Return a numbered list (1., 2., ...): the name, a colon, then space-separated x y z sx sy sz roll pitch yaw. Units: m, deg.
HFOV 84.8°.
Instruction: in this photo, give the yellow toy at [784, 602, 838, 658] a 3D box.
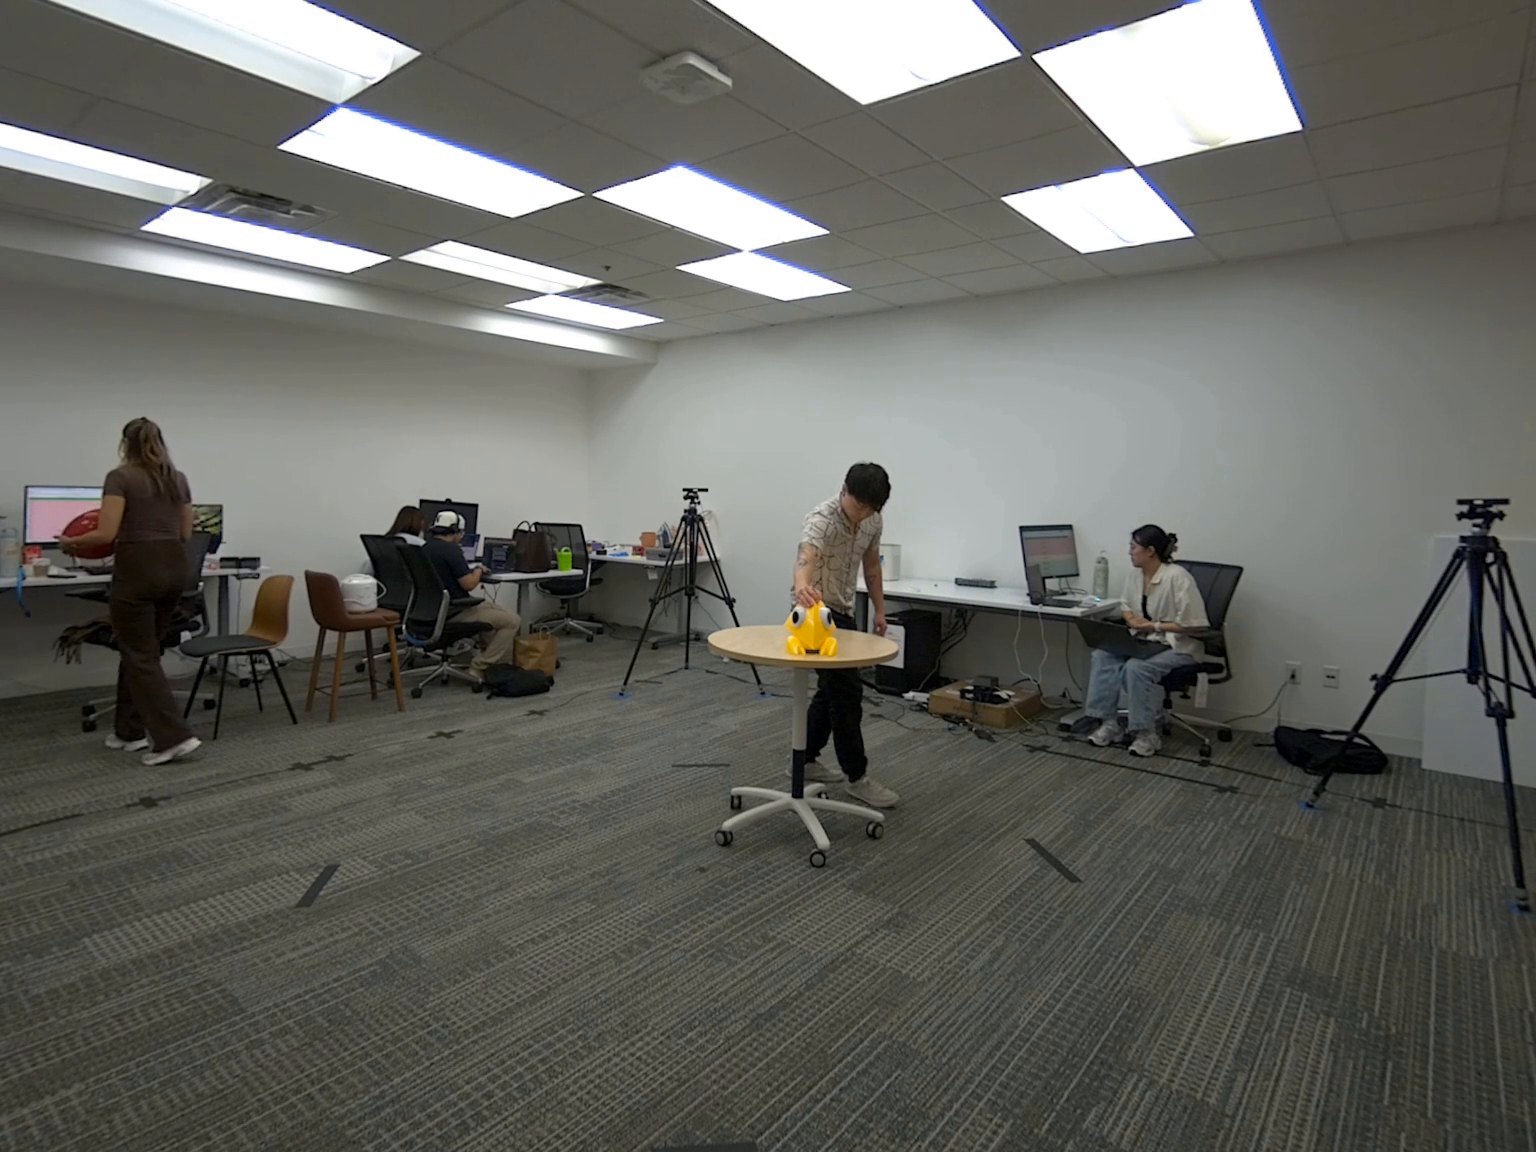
1. yellow toy: 0.162 0.170 3.244 0.205 0.230 0.193 1 3 0
